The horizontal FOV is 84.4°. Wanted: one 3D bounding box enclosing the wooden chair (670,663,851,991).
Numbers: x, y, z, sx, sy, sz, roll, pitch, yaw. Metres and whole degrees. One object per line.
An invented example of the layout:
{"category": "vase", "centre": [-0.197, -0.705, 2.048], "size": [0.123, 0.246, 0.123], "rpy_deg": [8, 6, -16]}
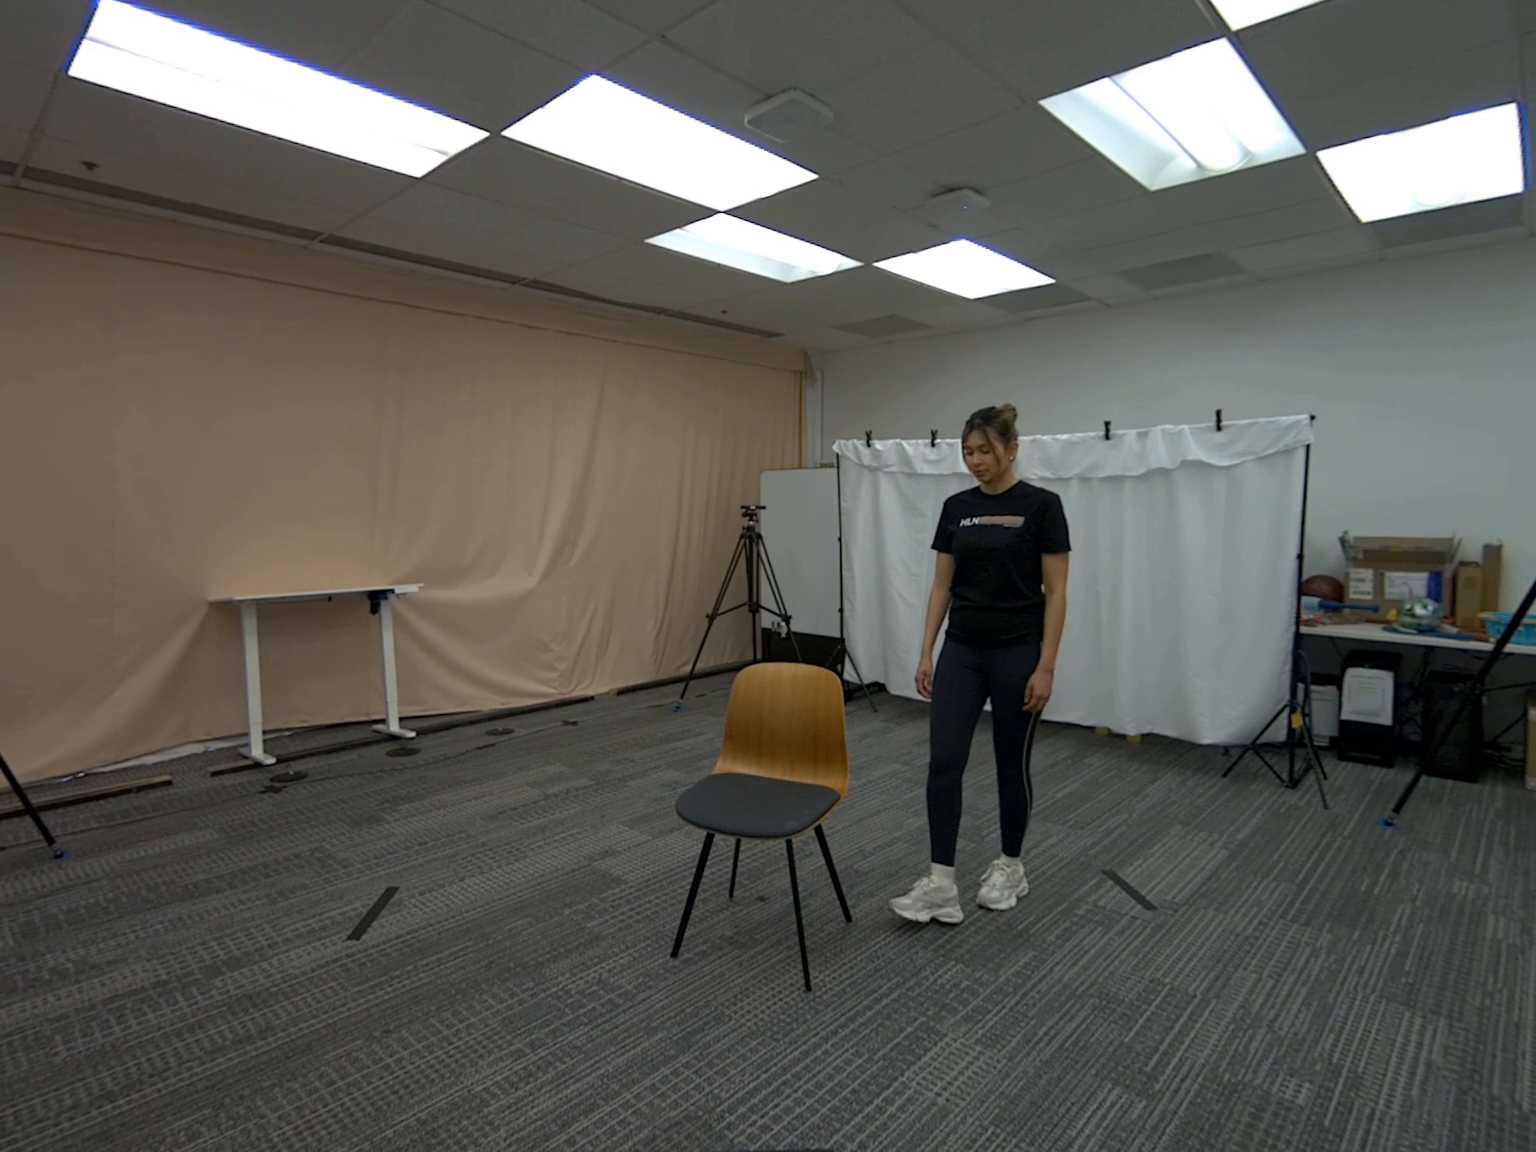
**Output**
{"category": "wooden chair", "centre": [-0.005, 0.745, 2.670], "size": [0.490, 0.878, 0.510], "rpy_deg": [2, -1, 23]}
